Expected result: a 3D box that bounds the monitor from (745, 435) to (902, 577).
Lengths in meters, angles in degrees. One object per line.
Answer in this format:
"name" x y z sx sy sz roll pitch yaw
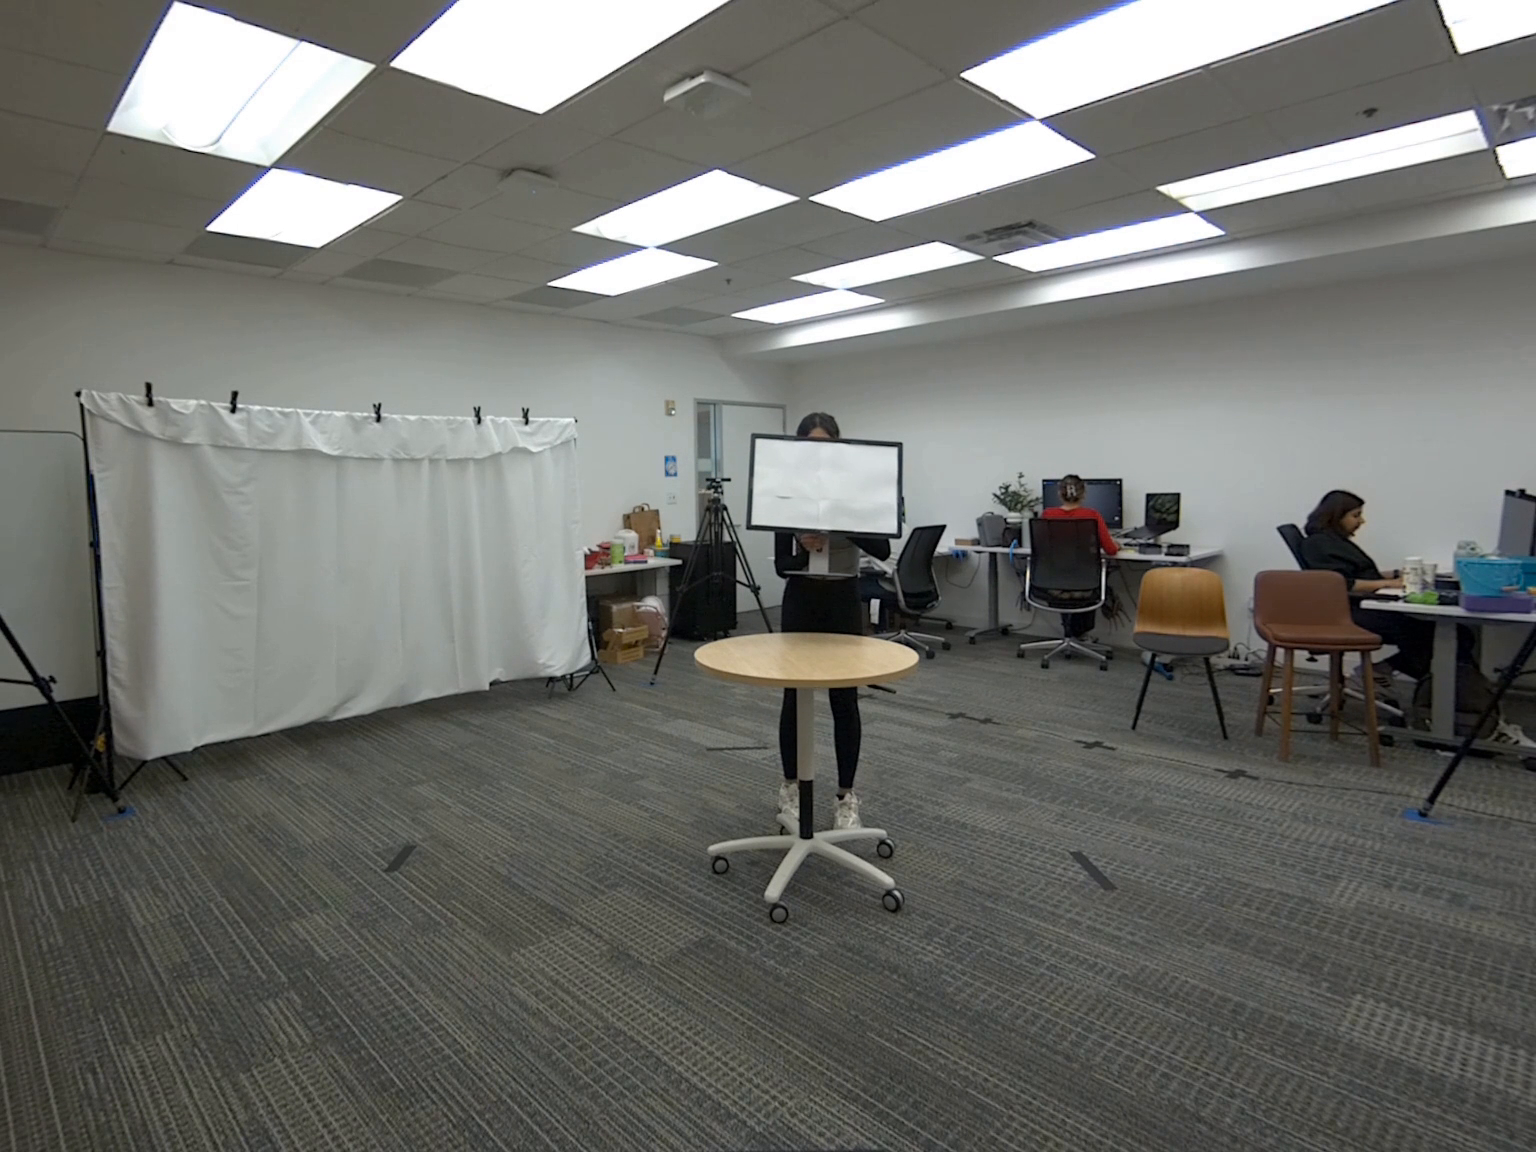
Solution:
"monitor" 0.191 -0.238 3.133 0.538 0.523 0.187 3 -1 -1
